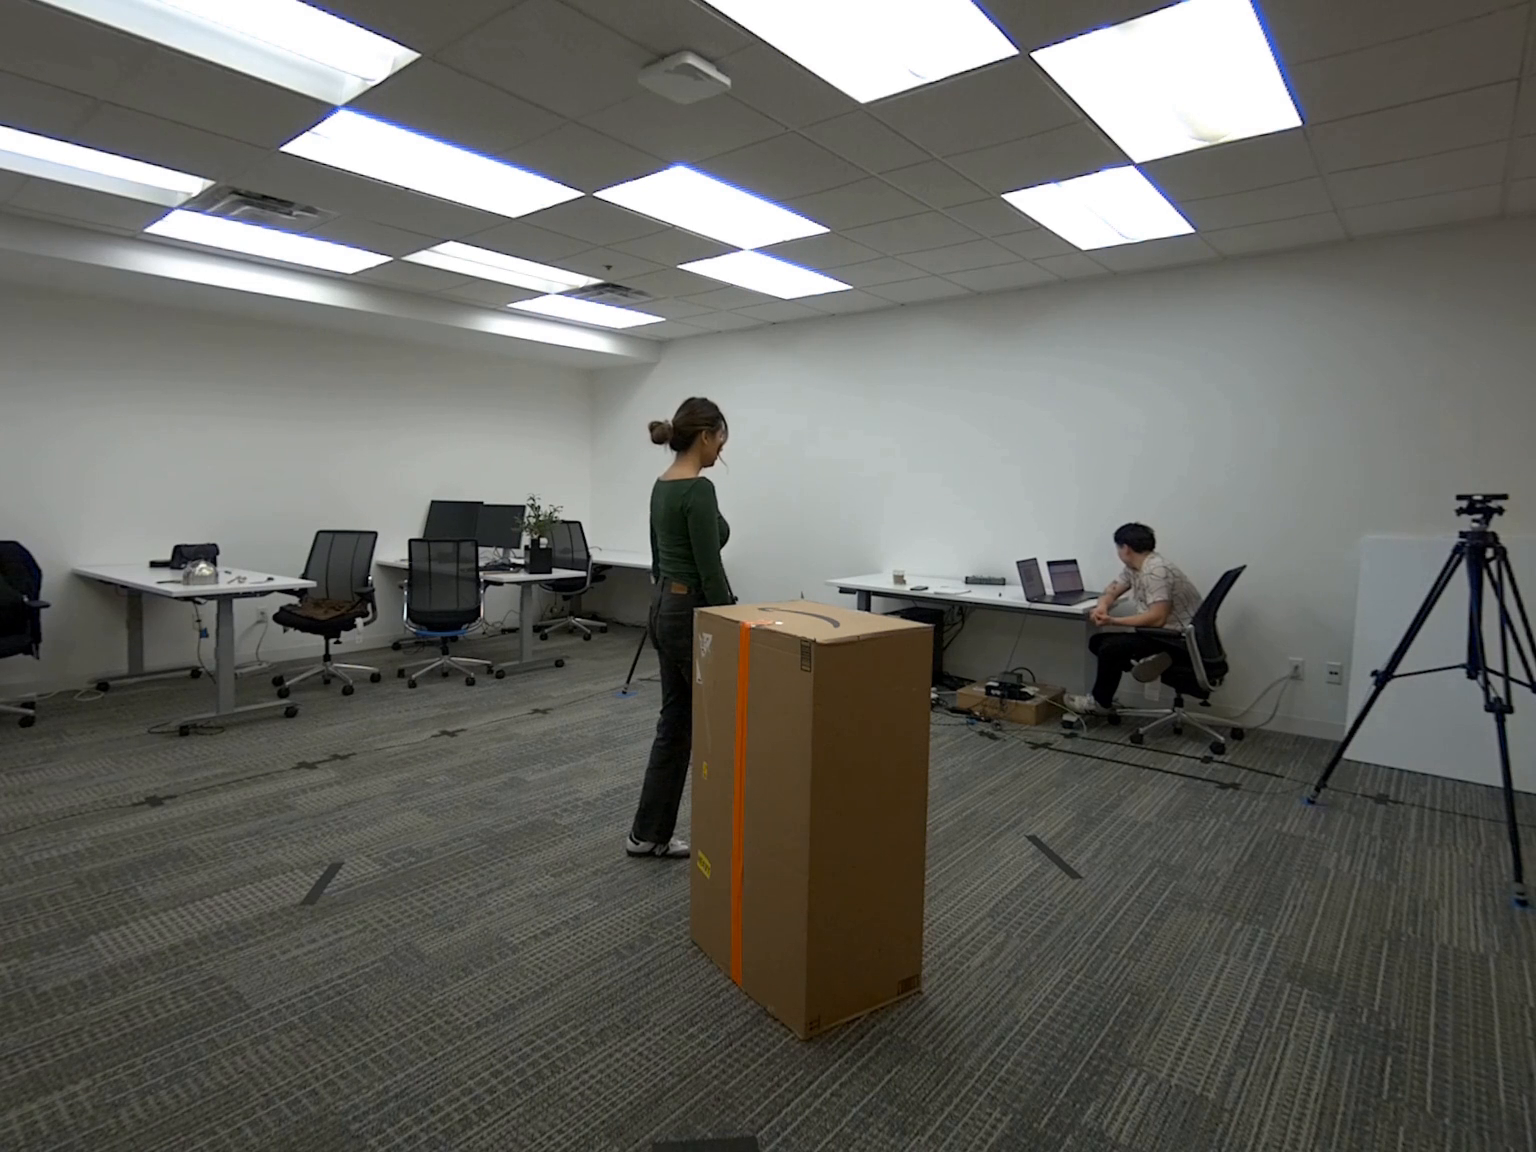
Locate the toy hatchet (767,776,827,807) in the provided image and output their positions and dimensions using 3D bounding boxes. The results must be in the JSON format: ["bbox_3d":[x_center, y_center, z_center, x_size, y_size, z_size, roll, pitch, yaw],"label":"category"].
[{"bbox_3d":[0.133,0.979,3.836,0.135,0.029,0.262,5,9,40],"label":"toy hatchet"}]
